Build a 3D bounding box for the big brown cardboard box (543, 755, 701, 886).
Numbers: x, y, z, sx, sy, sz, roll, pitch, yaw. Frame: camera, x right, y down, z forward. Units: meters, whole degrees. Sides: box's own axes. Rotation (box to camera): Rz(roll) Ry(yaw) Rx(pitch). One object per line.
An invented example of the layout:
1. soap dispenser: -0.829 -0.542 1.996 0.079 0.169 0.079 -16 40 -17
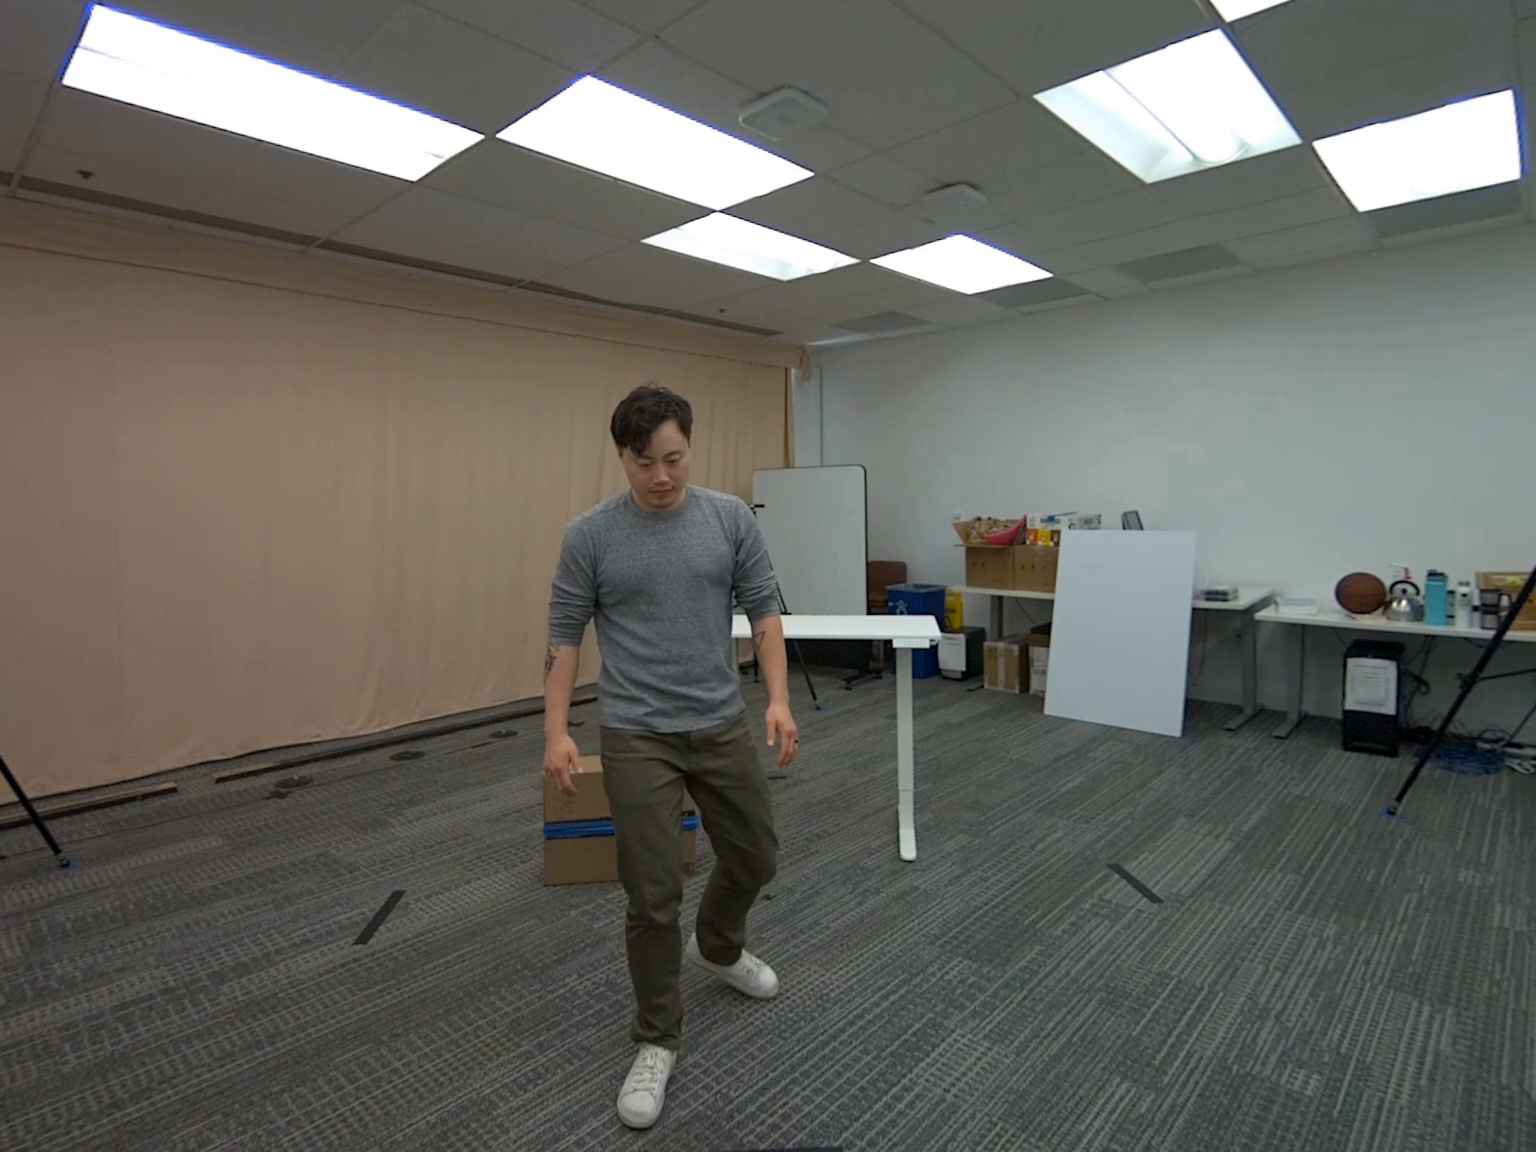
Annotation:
1. big brown cardboard box: -0.567 0.921 3.238 0.585 0.417 0.235 -2 2 -6
